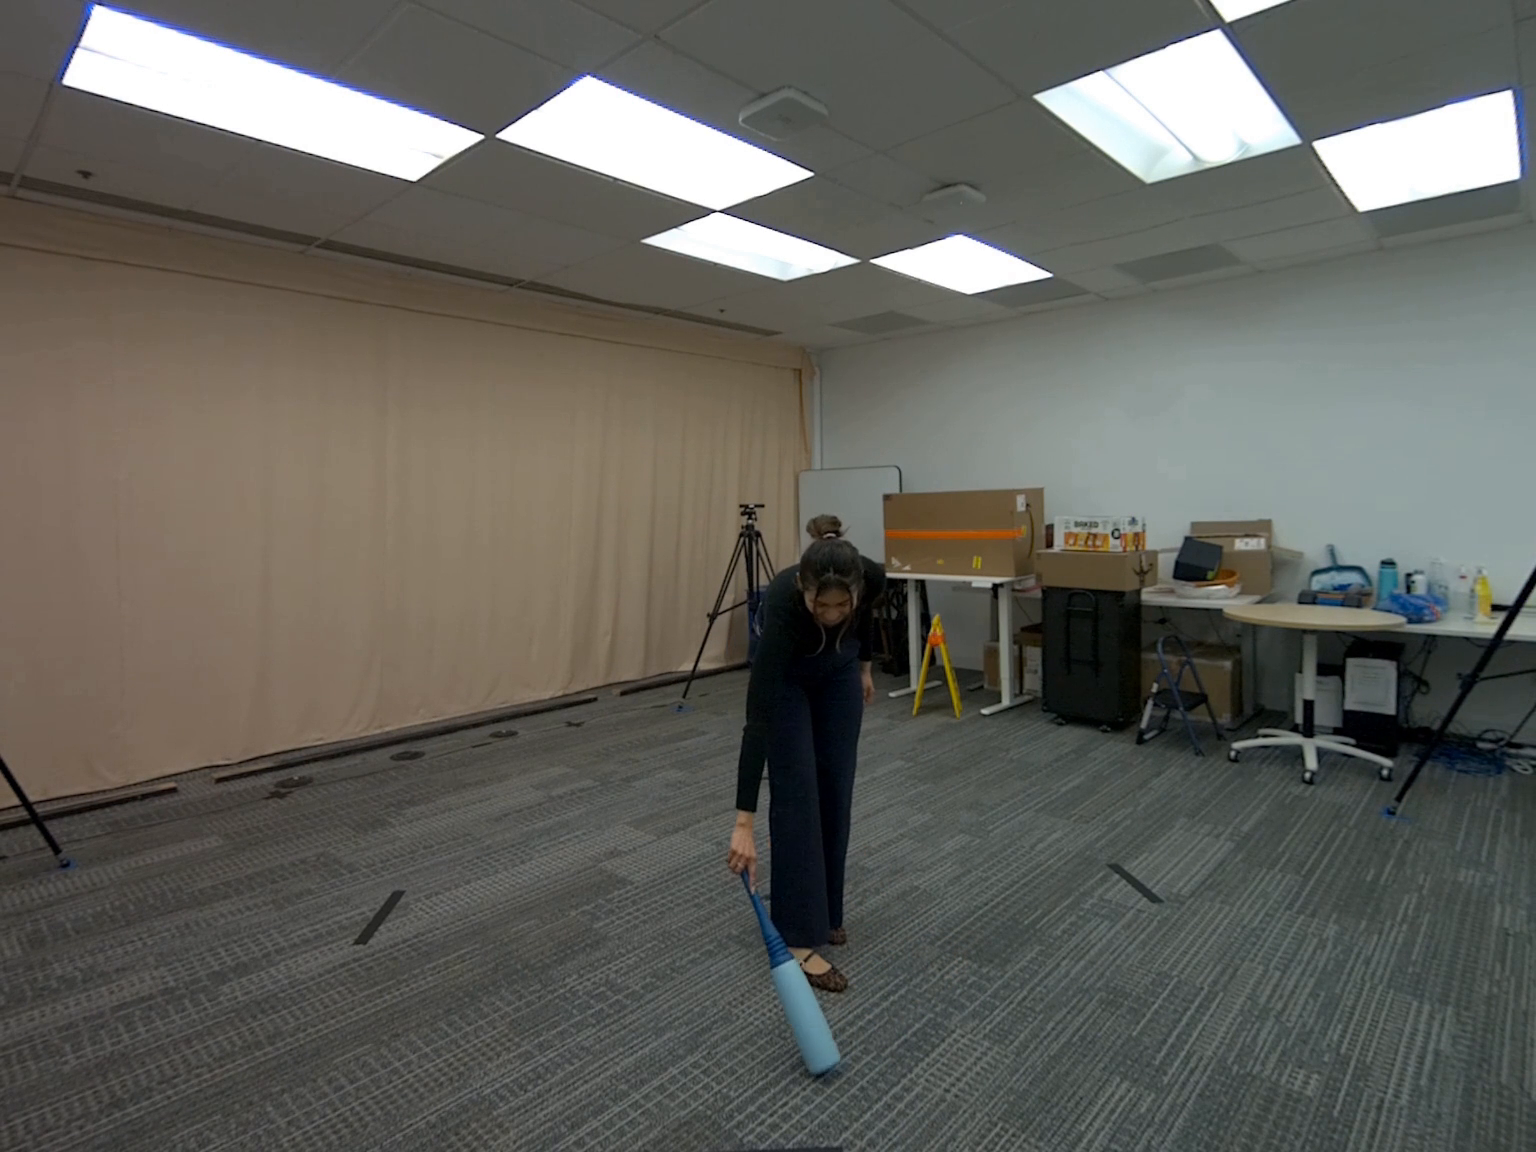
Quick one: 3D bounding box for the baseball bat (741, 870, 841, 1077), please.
[{"bbox_3d":[0.042,0.975,2.167,0.088,0.556,0.088,-21,-26,-12],"label":"baseball bat"}]
